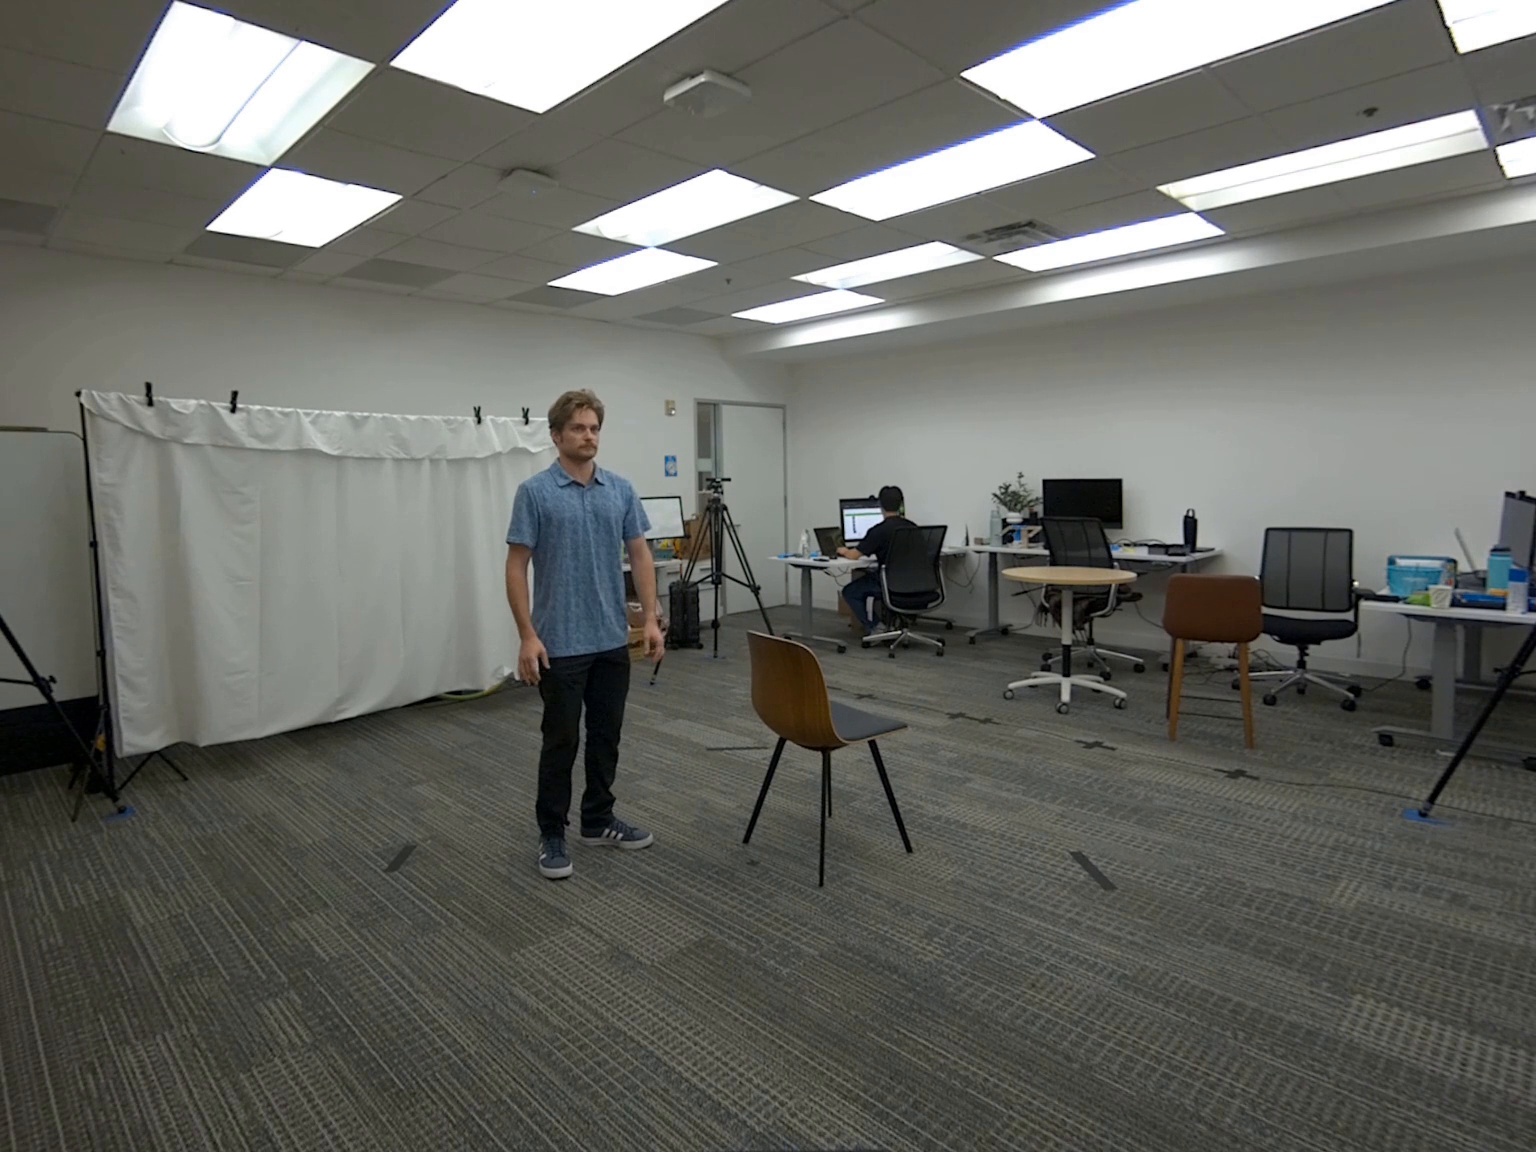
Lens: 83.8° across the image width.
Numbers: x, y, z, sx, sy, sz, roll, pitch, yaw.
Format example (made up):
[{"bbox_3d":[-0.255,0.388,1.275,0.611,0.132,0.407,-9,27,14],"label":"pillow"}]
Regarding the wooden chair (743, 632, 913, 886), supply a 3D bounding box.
[{"bbox_3d":[0.216,0.598,3.187,0.511,0.872,0.492,-10,8,-36],"label":"wooden chair"}]
